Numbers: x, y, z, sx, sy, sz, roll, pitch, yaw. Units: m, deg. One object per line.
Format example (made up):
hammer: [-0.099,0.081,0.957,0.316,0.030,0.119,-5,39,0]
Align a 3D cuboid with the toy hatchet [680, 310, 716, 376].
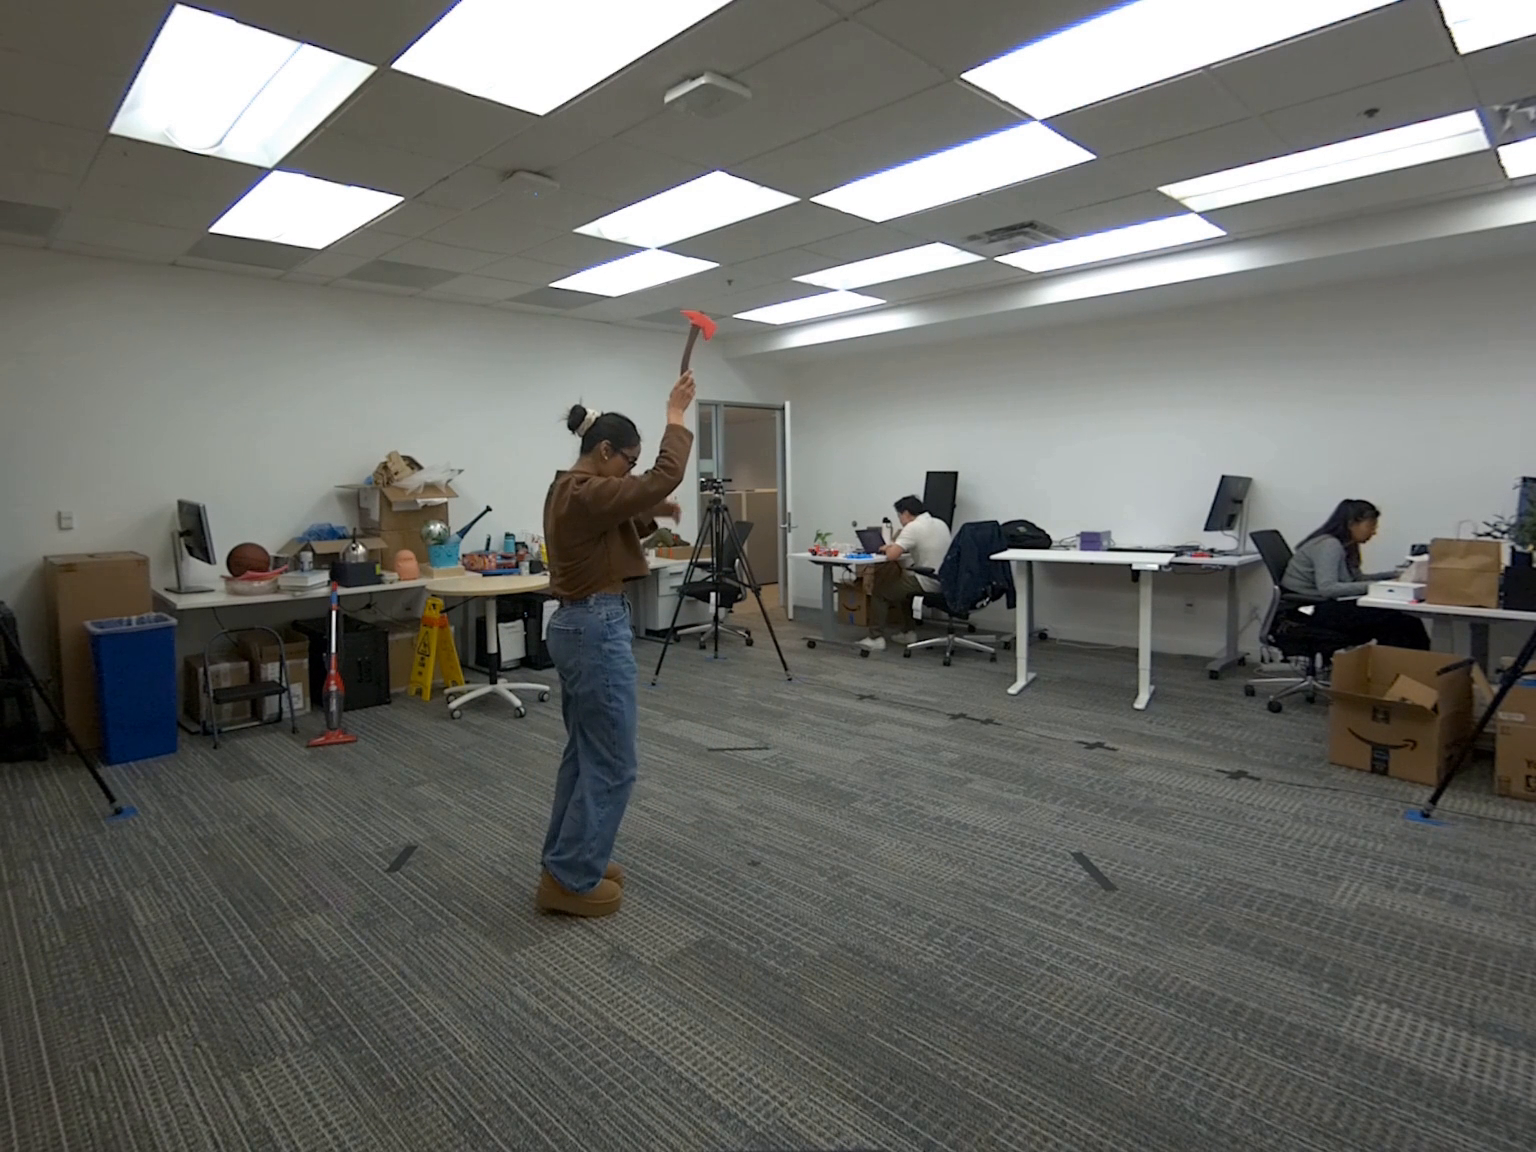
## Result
toy hatchet: [-0.233,-0.749,2.838,0.128,0.268,0.030,-2,11,-31]
